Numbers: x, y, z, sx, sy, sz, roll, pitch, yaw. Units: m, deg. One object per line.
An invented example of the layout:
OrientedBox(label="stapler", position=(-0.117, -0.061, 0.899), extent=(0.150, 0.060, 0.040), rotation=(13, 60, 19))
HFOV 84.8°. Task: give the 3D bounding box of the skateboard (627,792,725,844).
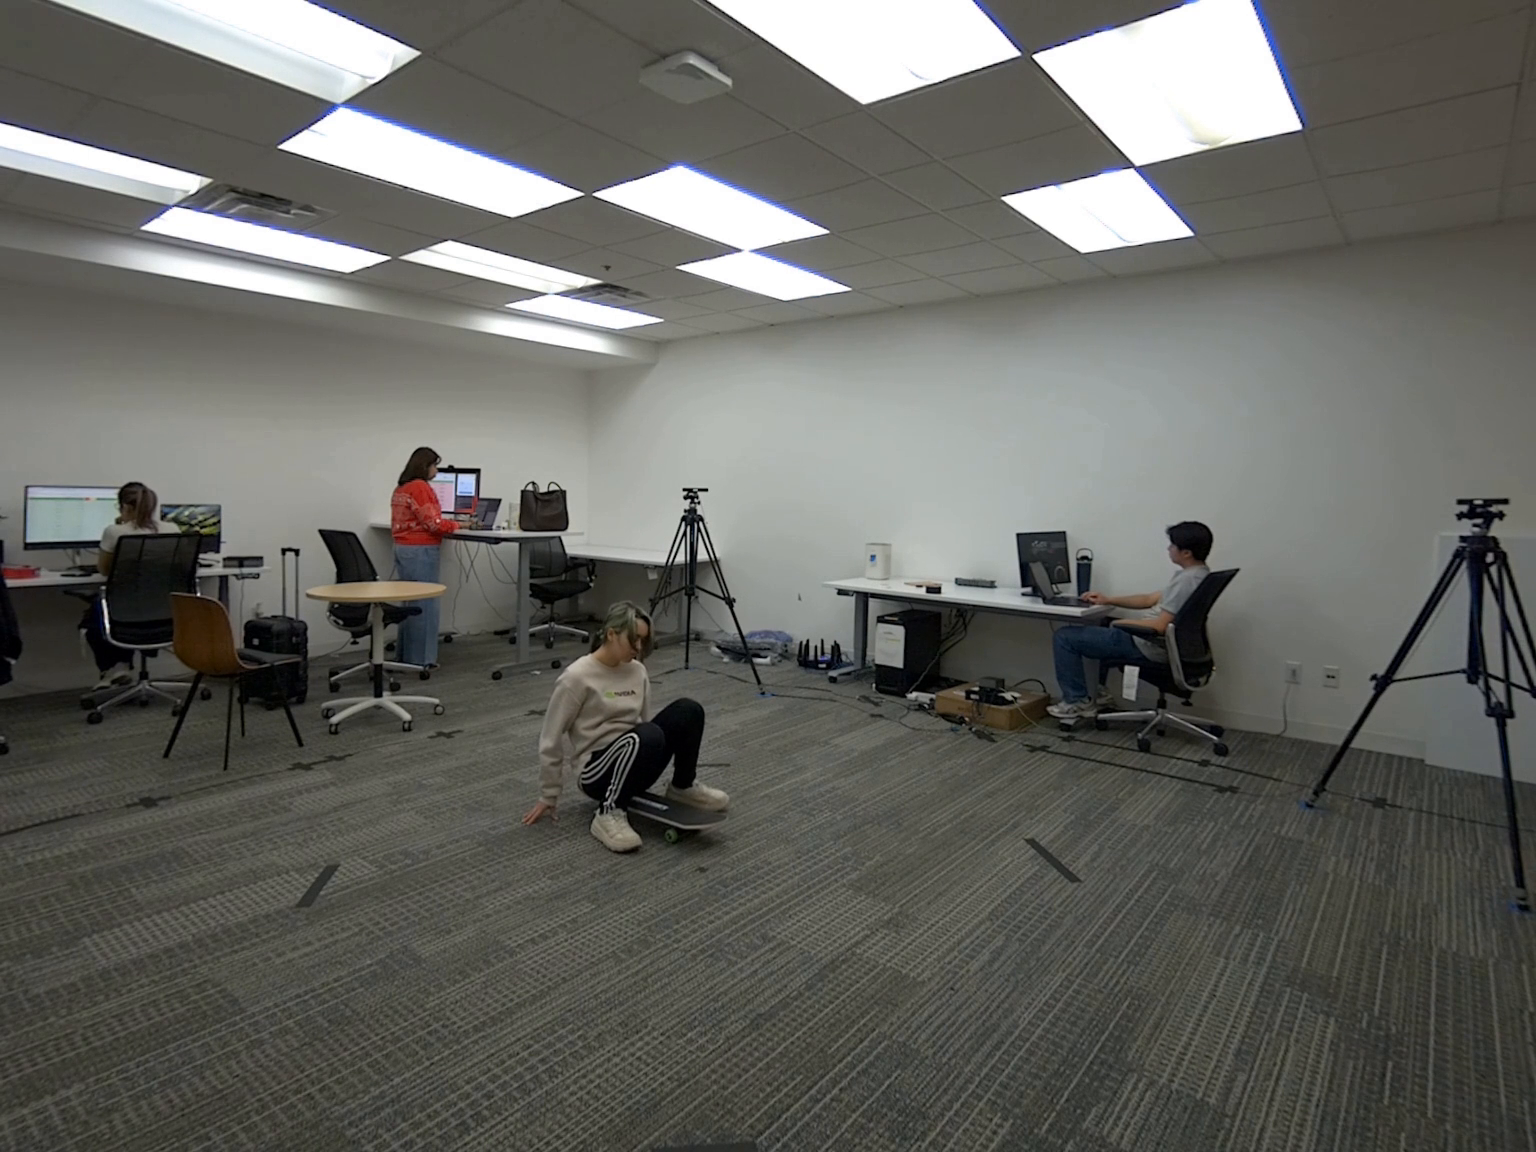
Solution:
OrientedBox(label="skateboard", position=(-0.508, 0.973, 3.522), extent=(0.811, 0.110, 0.188), rotation=(4, 5, 37))
